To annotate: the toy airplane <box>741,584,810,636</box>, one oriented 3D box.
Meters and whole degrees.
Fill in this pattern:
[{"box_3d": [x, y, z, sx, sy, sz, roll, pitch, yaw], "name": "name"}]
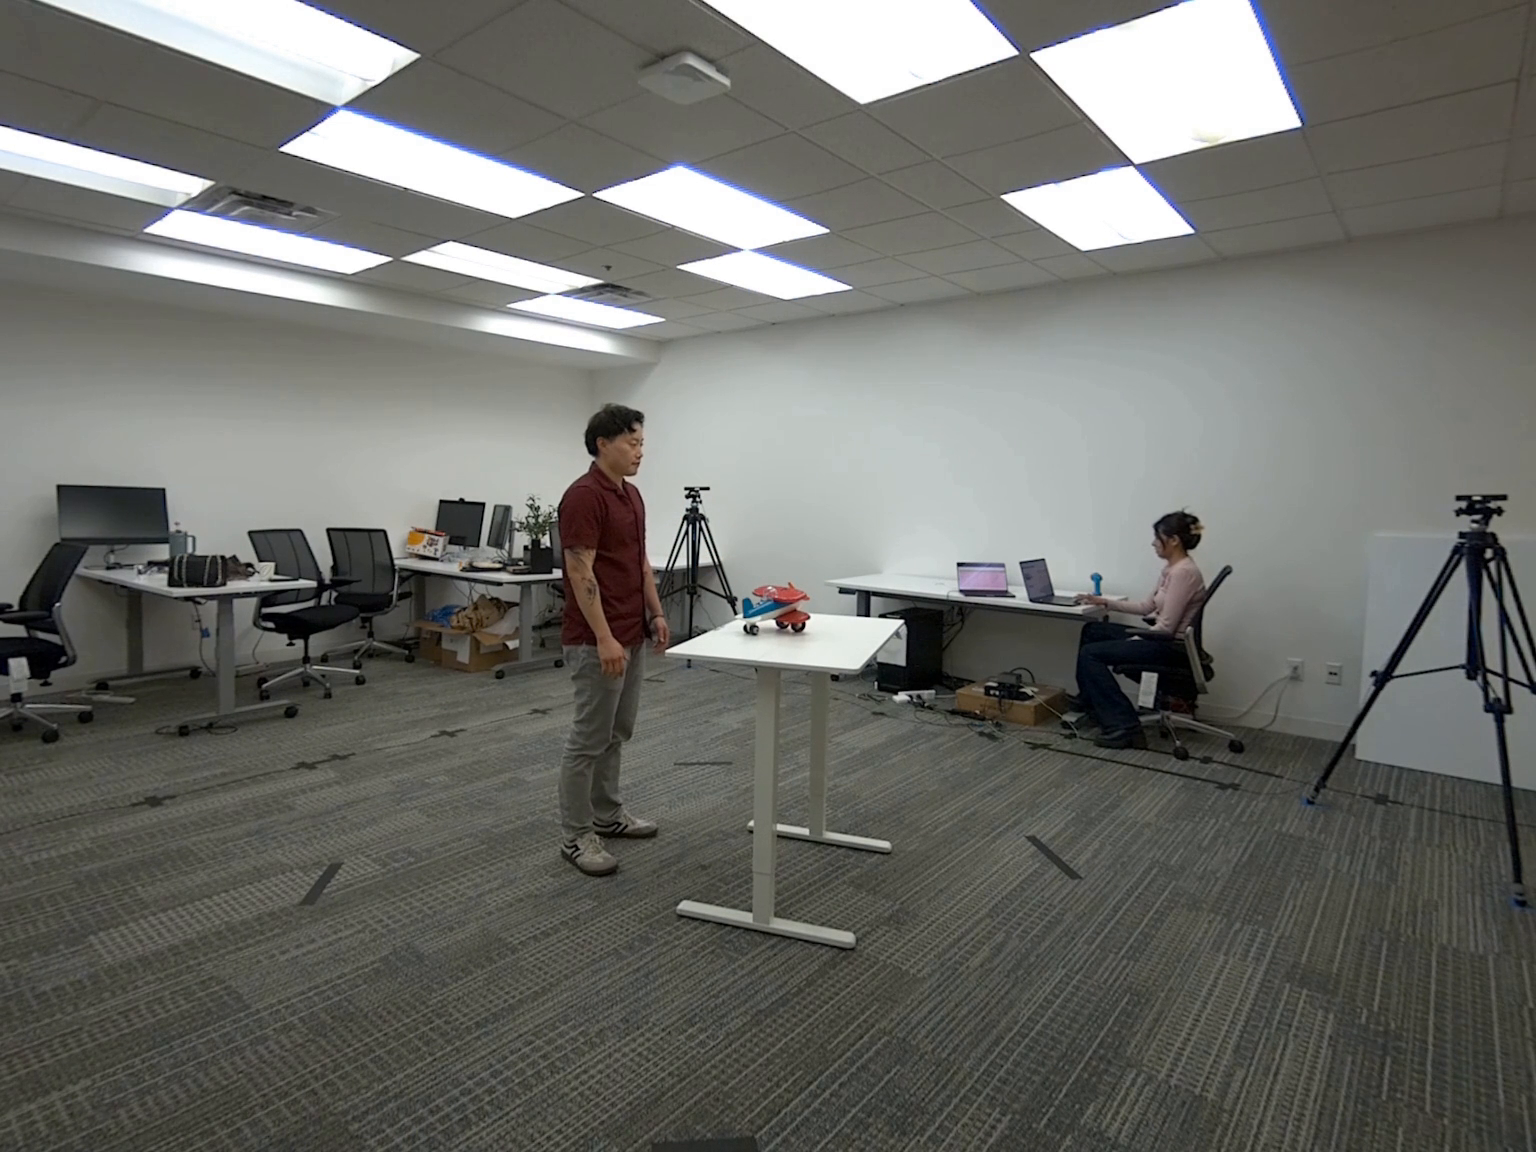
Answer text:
[{"box_3d": [0.022, 0.120, 3.002, 0.258, 0.156, 0.253, 3, 6, 26], "name": "toy airplane"}]
